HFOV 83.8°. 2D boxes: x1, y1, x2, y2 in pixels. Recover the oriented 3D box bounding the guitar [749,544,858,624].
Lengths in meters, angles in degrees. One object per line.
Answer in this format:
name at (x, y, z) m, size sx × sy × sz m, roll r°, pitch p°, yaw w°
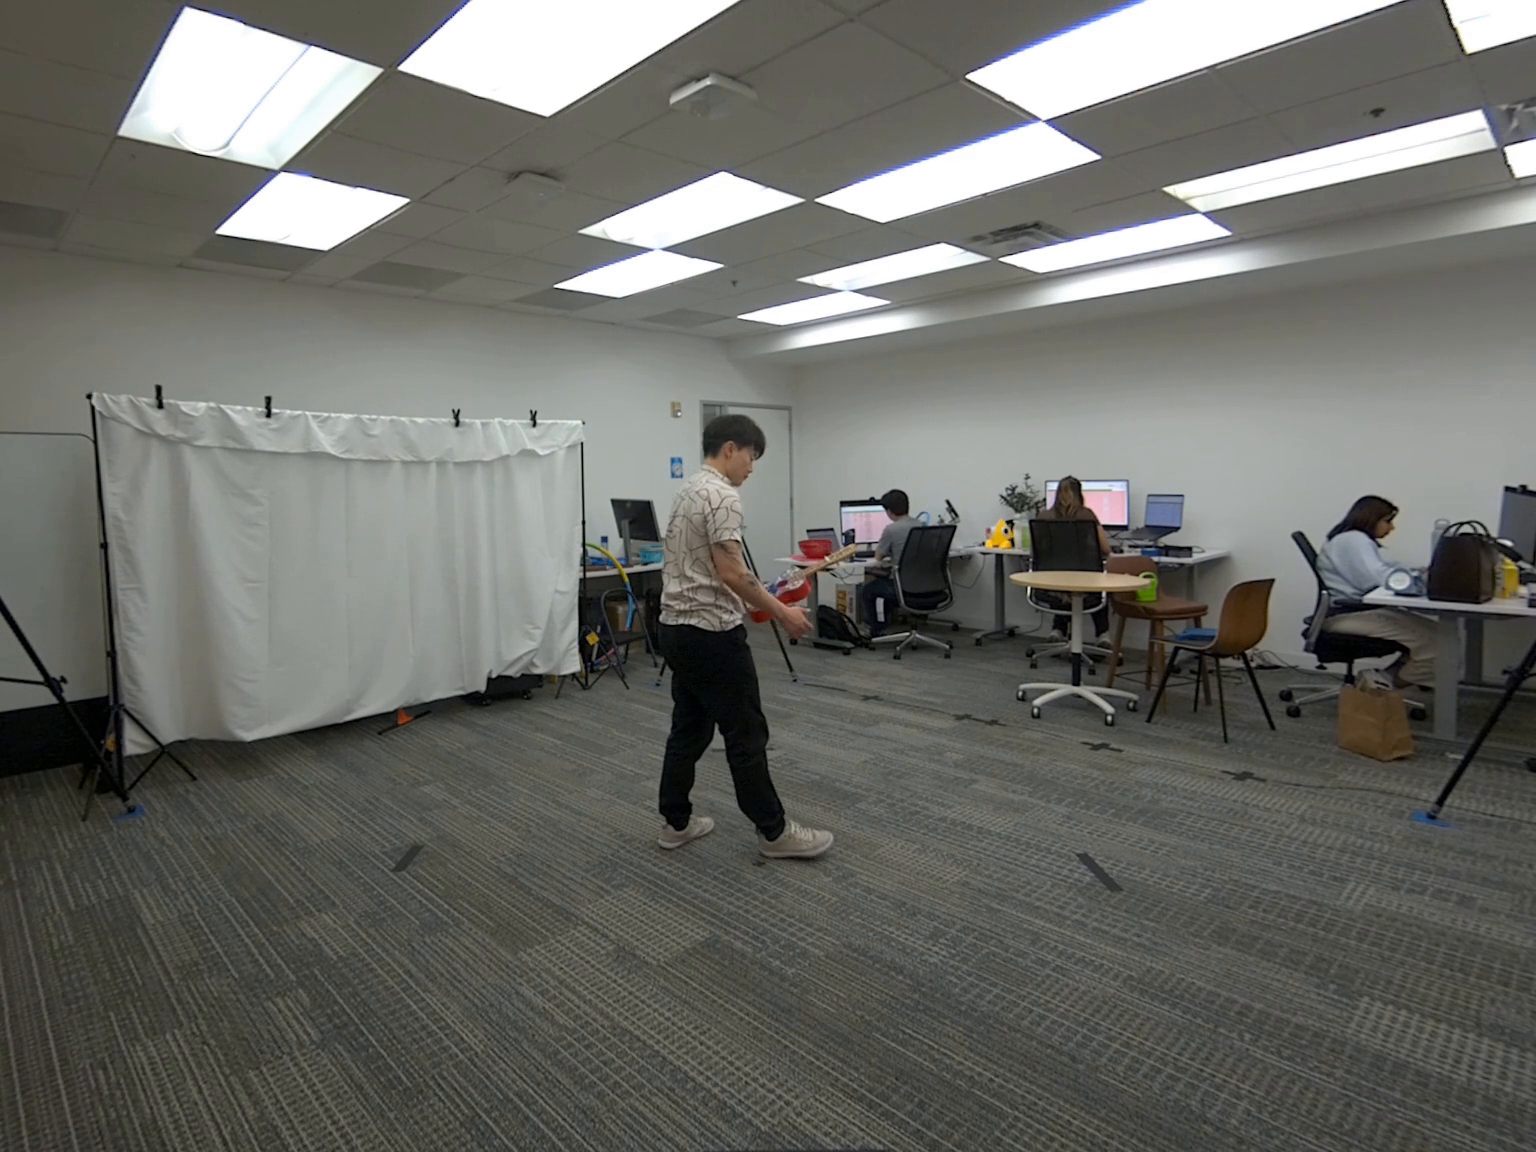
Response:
guitar at (0.142, 0.026, 3.271) m, size 0.501 × 0.068 × 0.198 m, roll -22°, pitch 30°, yaw 12°
